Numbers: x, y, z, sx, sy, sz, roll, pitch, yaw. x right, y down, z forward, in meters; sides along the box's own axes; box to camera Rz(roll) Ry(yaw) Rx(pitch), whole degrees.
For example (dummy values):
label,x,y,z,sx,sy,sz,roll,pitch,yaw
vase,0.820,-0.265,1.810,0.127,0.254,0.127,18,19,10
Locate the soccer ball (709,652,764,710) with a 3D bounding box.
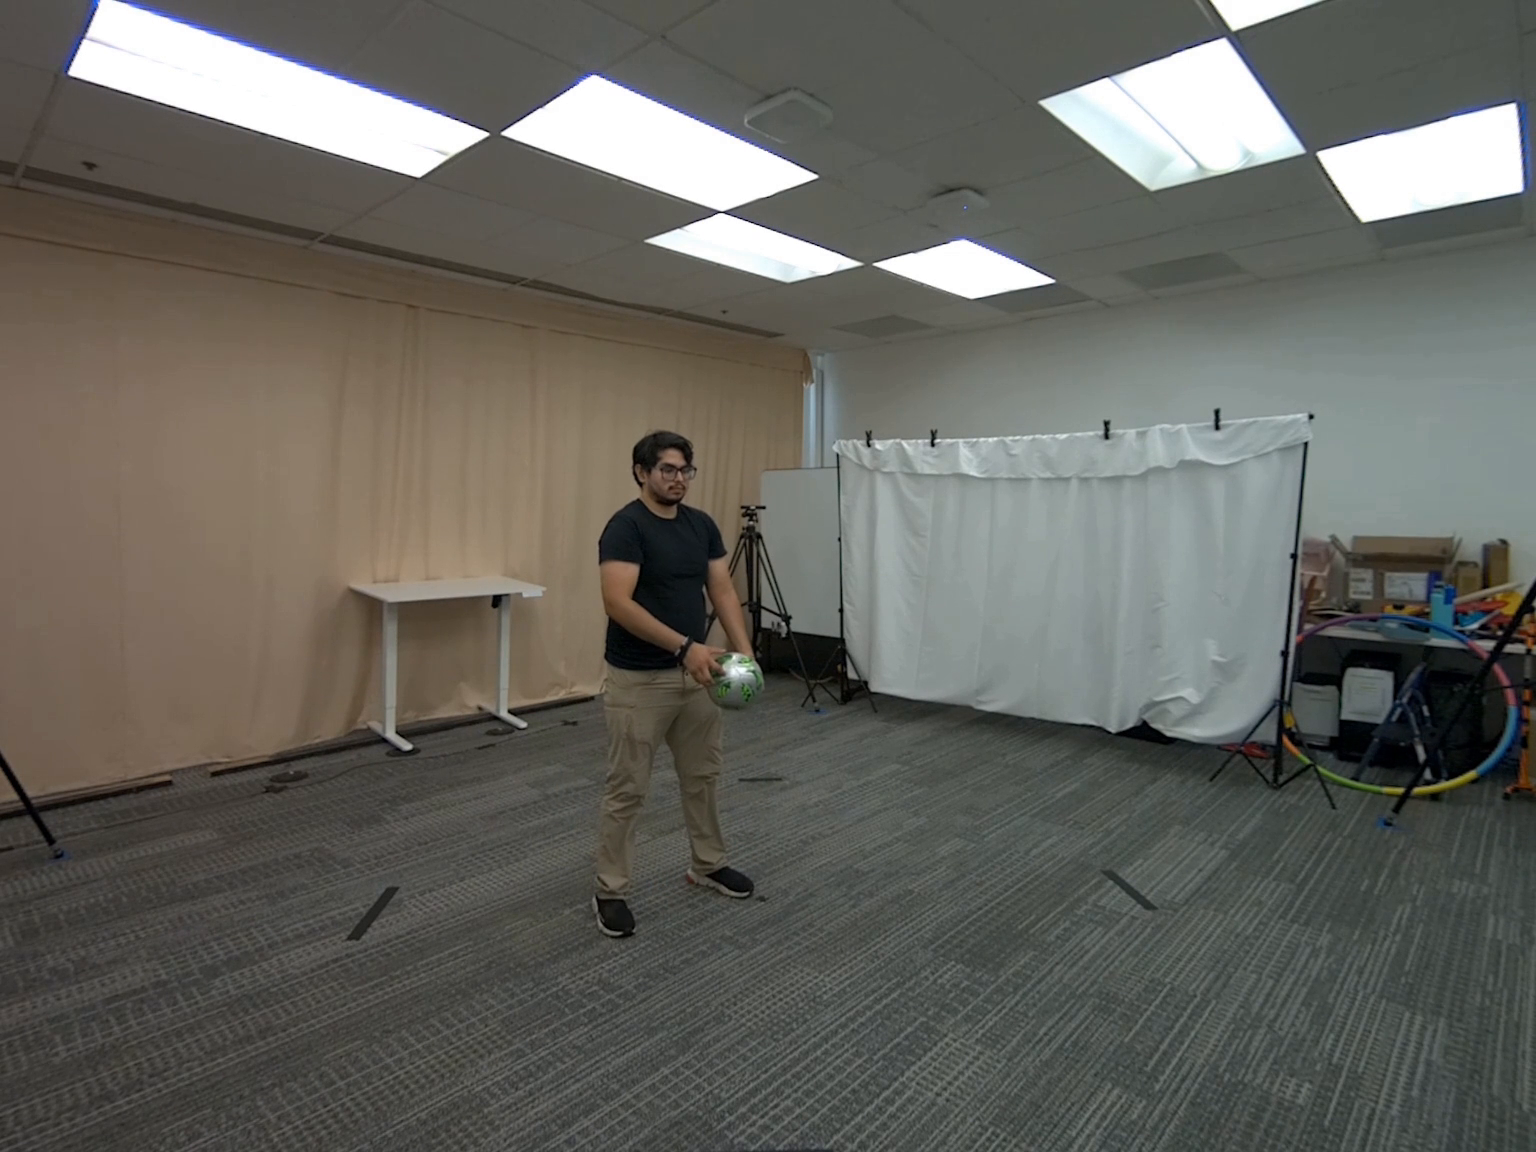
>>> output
label,x,y,z,sx,sy,sz,roll,pitch,yaw
soccer ball,-0.111,0.344,2.715,0.187,0.187,0.188,0,4,-2
